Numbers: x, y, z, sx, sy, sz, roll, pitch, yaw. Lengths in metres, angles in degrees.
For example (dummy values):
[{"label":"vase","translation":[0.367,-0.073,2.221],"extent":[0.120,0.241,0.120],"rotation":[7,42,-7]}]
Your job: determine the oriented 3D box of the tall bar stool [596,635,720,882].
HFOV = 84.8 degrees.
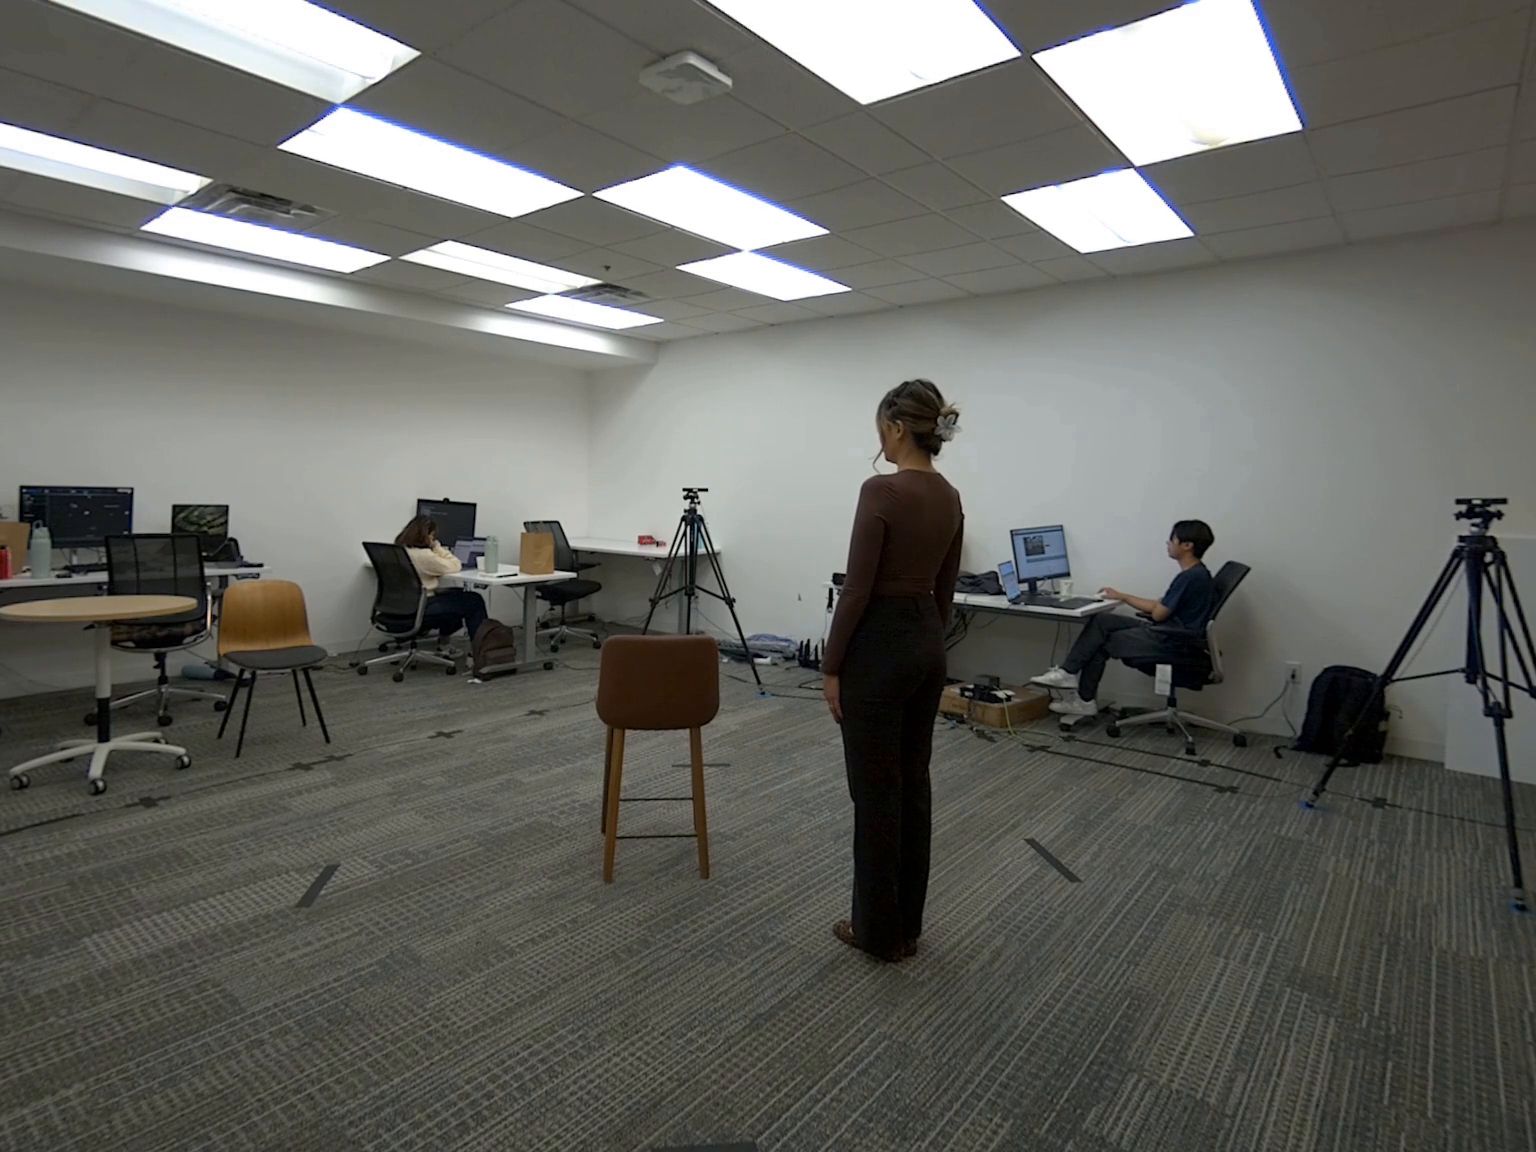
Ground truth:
[{"label":"tall bar stool","translation":[-0.437,0.623,3.209],"extent":[0.452,0.886,0.474],"rotation":[0,5,-9]}]
